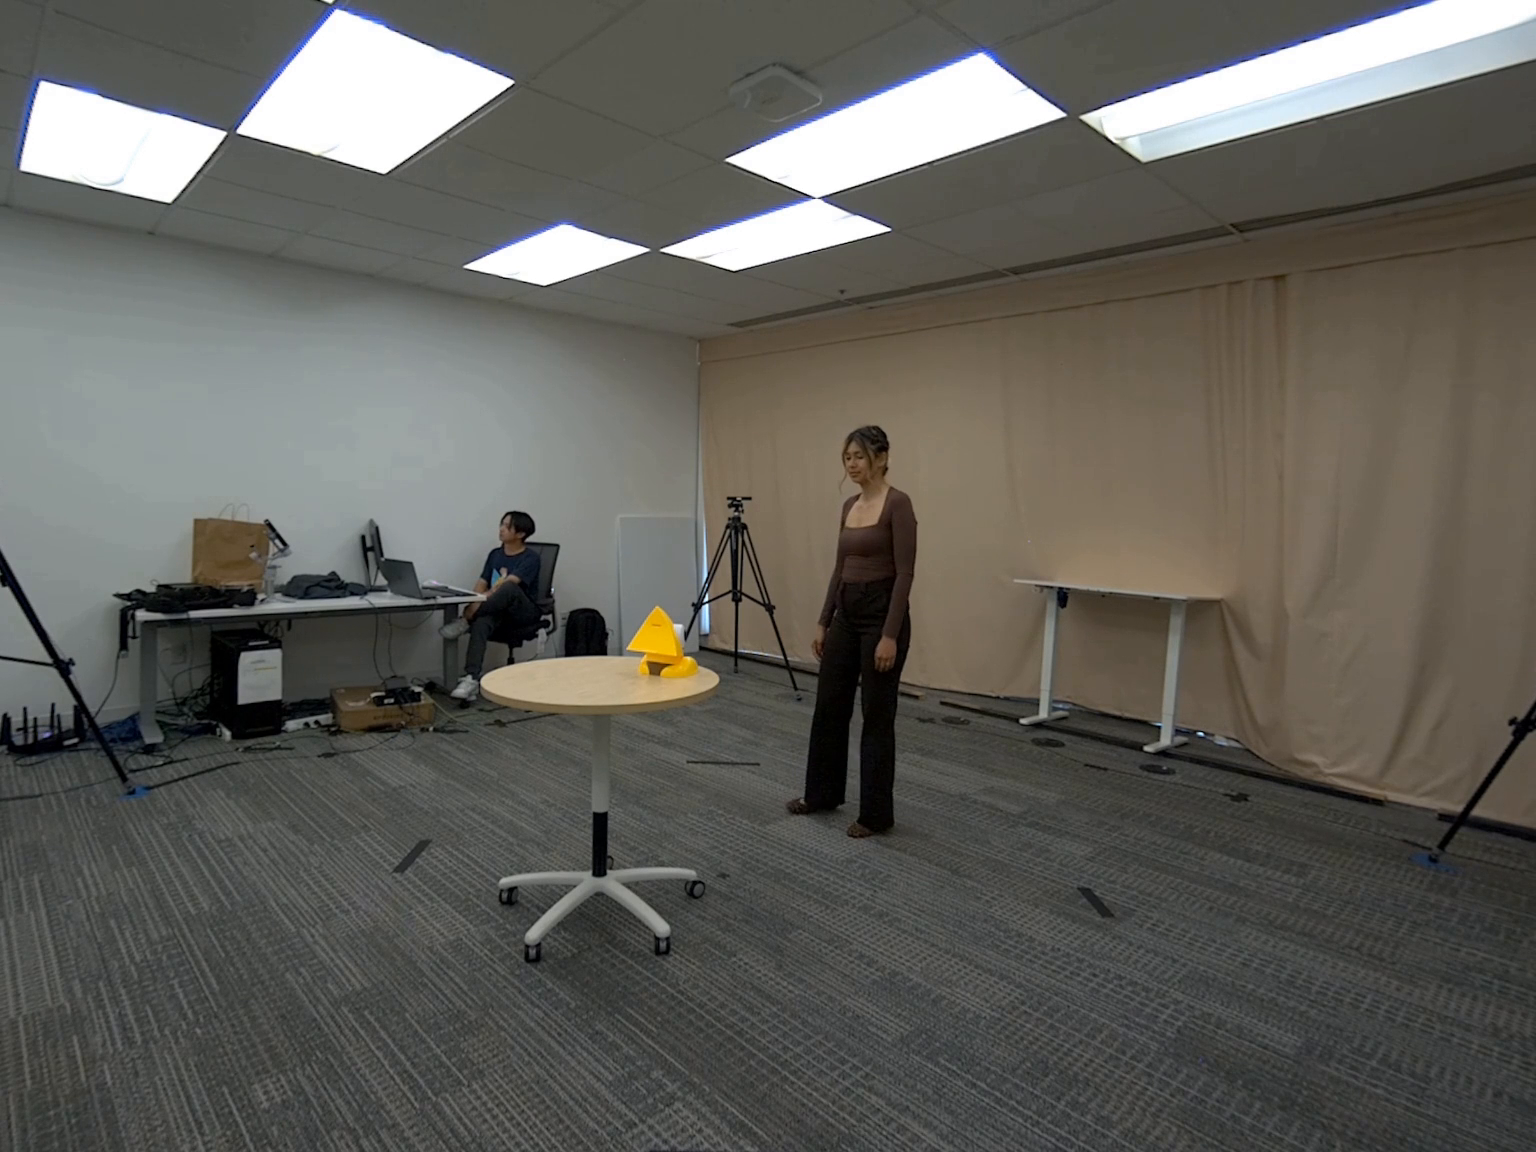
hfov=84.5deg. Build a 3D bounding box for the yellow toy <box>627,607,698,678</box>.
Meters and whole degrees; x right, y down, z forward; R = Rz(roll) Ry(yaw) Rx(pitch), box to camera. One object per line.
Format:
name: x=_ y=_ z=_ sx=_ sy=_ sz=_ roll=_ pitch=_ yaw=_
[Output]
yellow toy: x=-0.349 y=0.214 z=2.851 sx=0.209 sy=0.230 sz=0.189 roll=3 pitch=5 yaw=29
